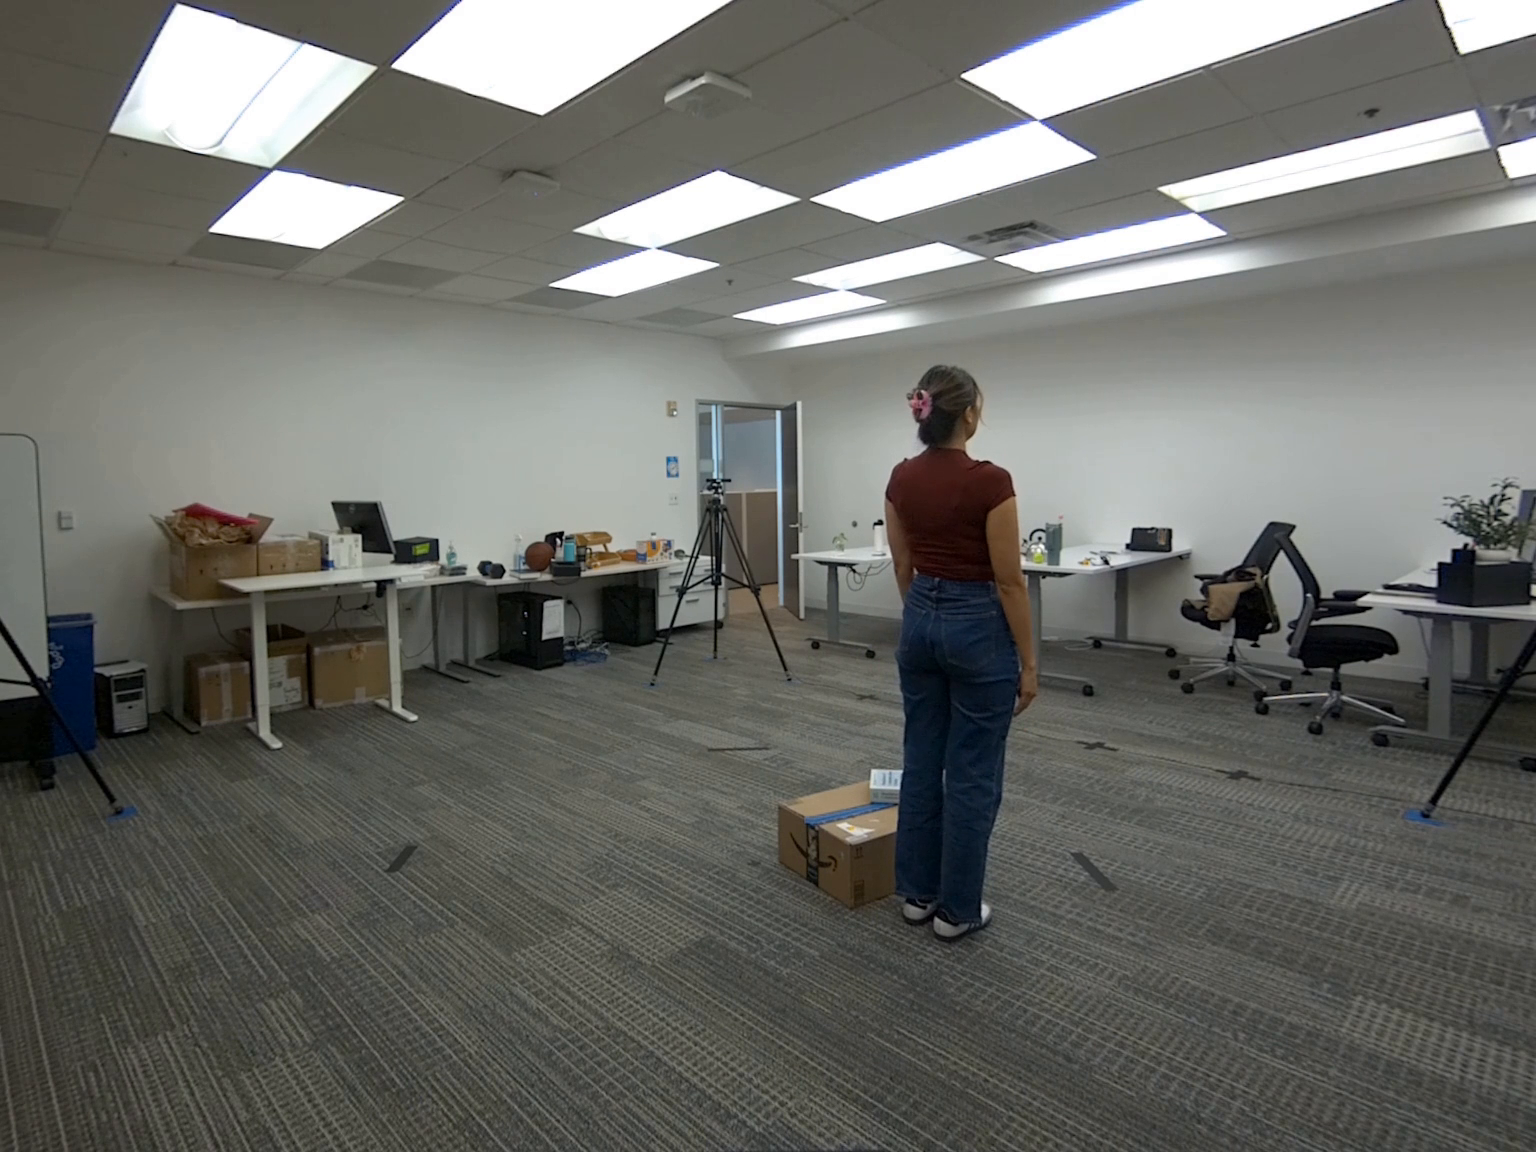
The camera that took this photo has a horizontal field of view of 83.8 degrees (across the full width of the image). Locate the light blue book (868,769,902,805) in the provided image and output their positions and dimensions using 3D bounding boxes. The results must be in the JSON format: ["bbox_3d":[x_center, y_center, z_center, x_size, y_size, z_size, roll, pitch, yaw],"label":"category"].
[{"bbox_3d":[0.520,0.784,3.183,0.264,0.059,0.190,-1,7,11],"label":"light blue book"}]
